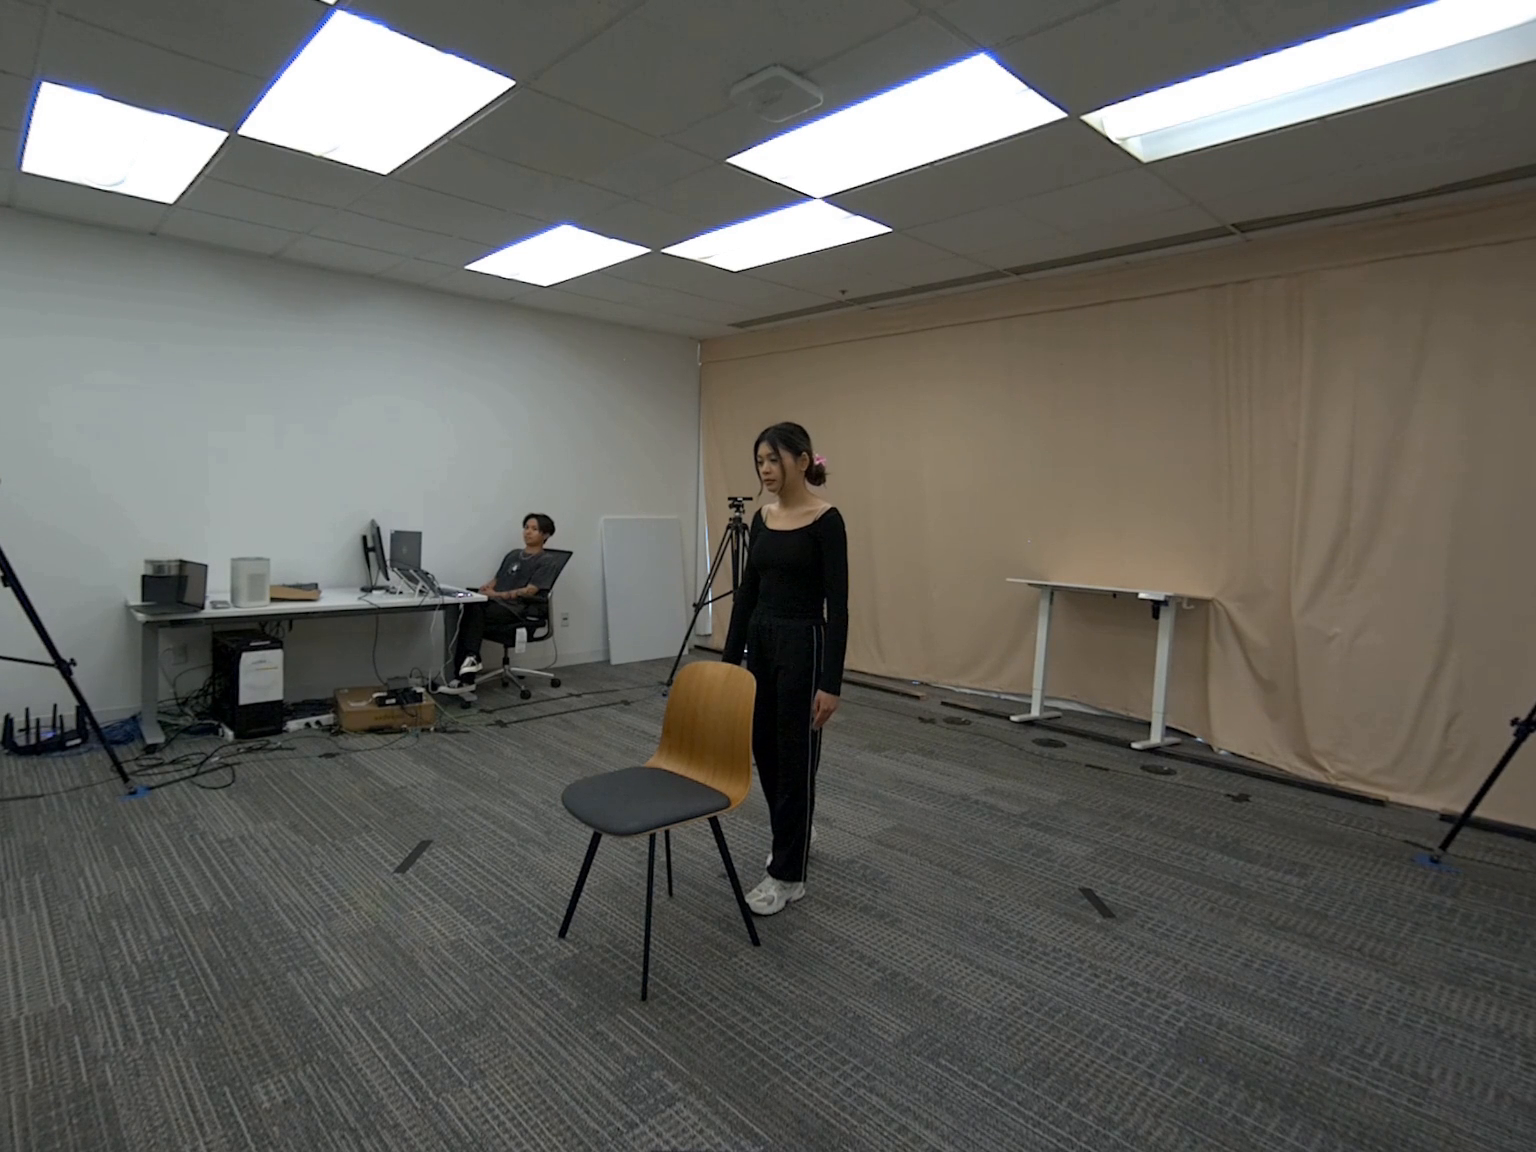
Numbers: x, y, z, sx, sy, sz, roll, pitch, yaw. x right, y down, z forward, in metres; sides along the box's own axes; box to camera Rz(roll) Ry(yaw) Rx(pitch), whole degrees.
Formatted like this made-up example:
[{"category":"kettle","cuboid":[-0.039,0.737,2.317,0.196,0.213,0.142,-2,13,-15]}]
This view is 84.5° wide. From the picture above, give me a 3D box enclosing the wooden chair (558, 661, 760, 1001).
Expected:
[{"category":"wooden chair","cuboid":[-0.343,0.725,2.589,0.510,0.877,0.490,4,1,-44]}]
